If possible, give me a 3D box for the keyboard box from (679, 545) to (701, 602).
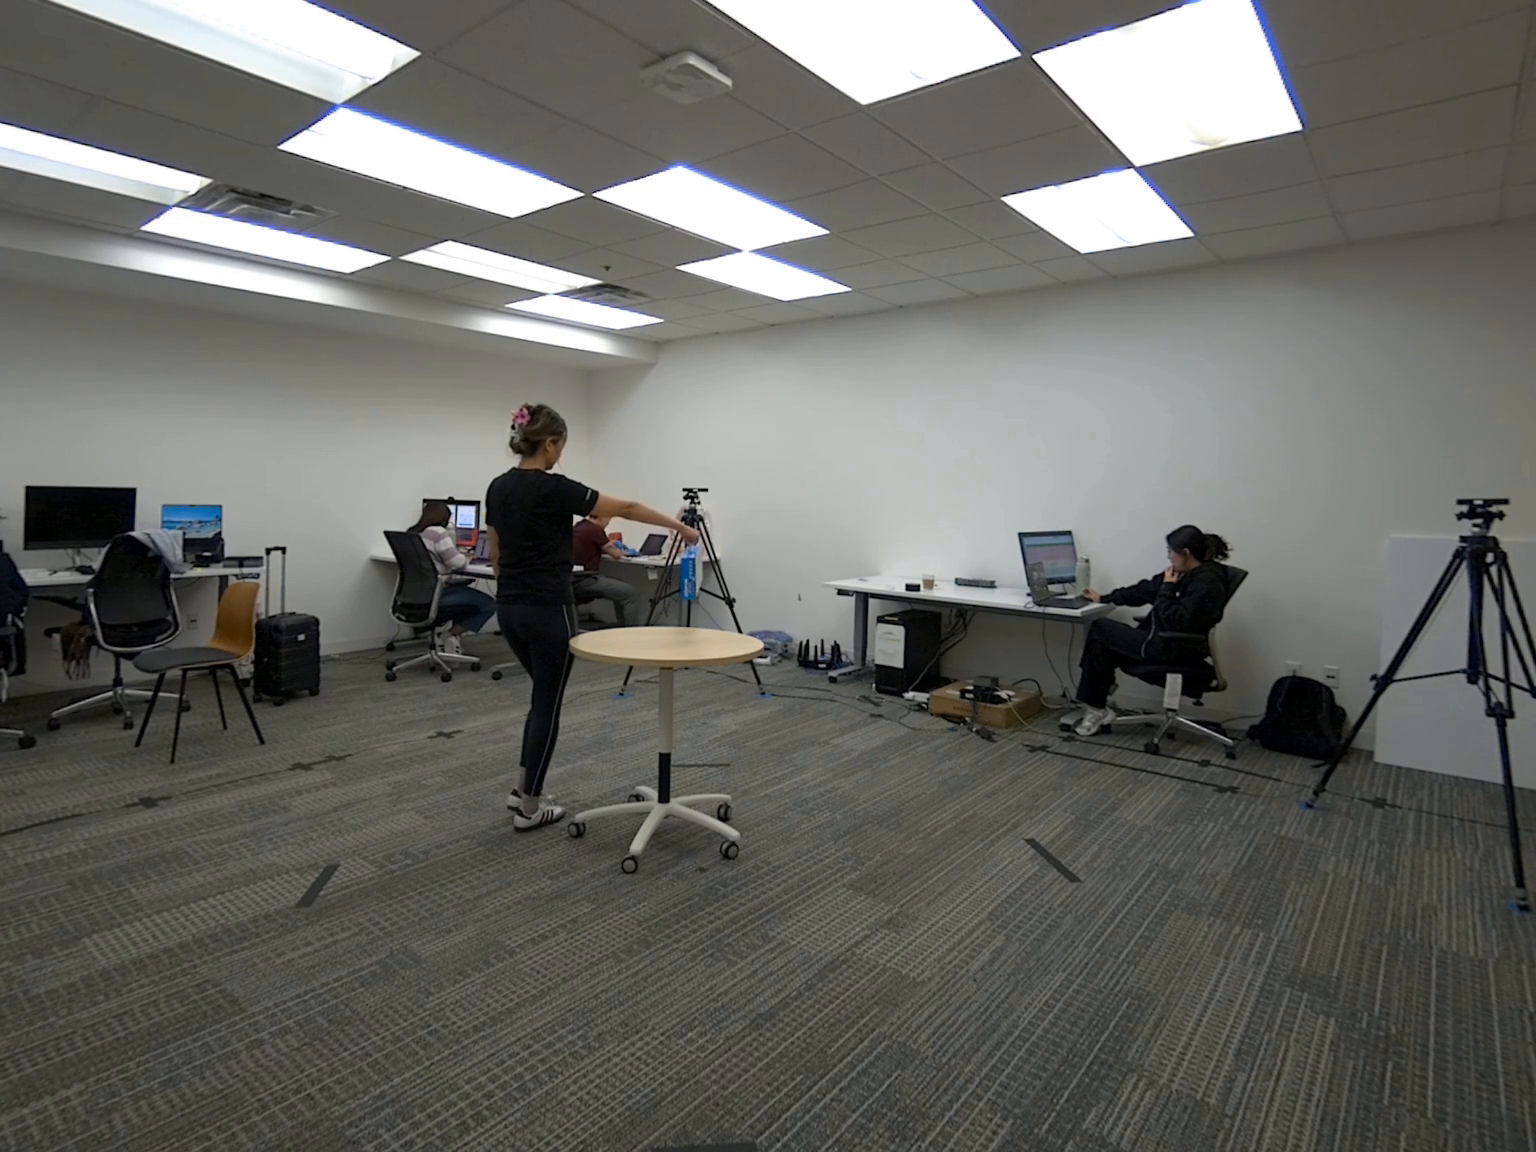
[{"bbox_3d":[-0.333,-0.026,3.638,0.059,0.174,0.441,-2,11,-2],"label":"keyboard box"}]
